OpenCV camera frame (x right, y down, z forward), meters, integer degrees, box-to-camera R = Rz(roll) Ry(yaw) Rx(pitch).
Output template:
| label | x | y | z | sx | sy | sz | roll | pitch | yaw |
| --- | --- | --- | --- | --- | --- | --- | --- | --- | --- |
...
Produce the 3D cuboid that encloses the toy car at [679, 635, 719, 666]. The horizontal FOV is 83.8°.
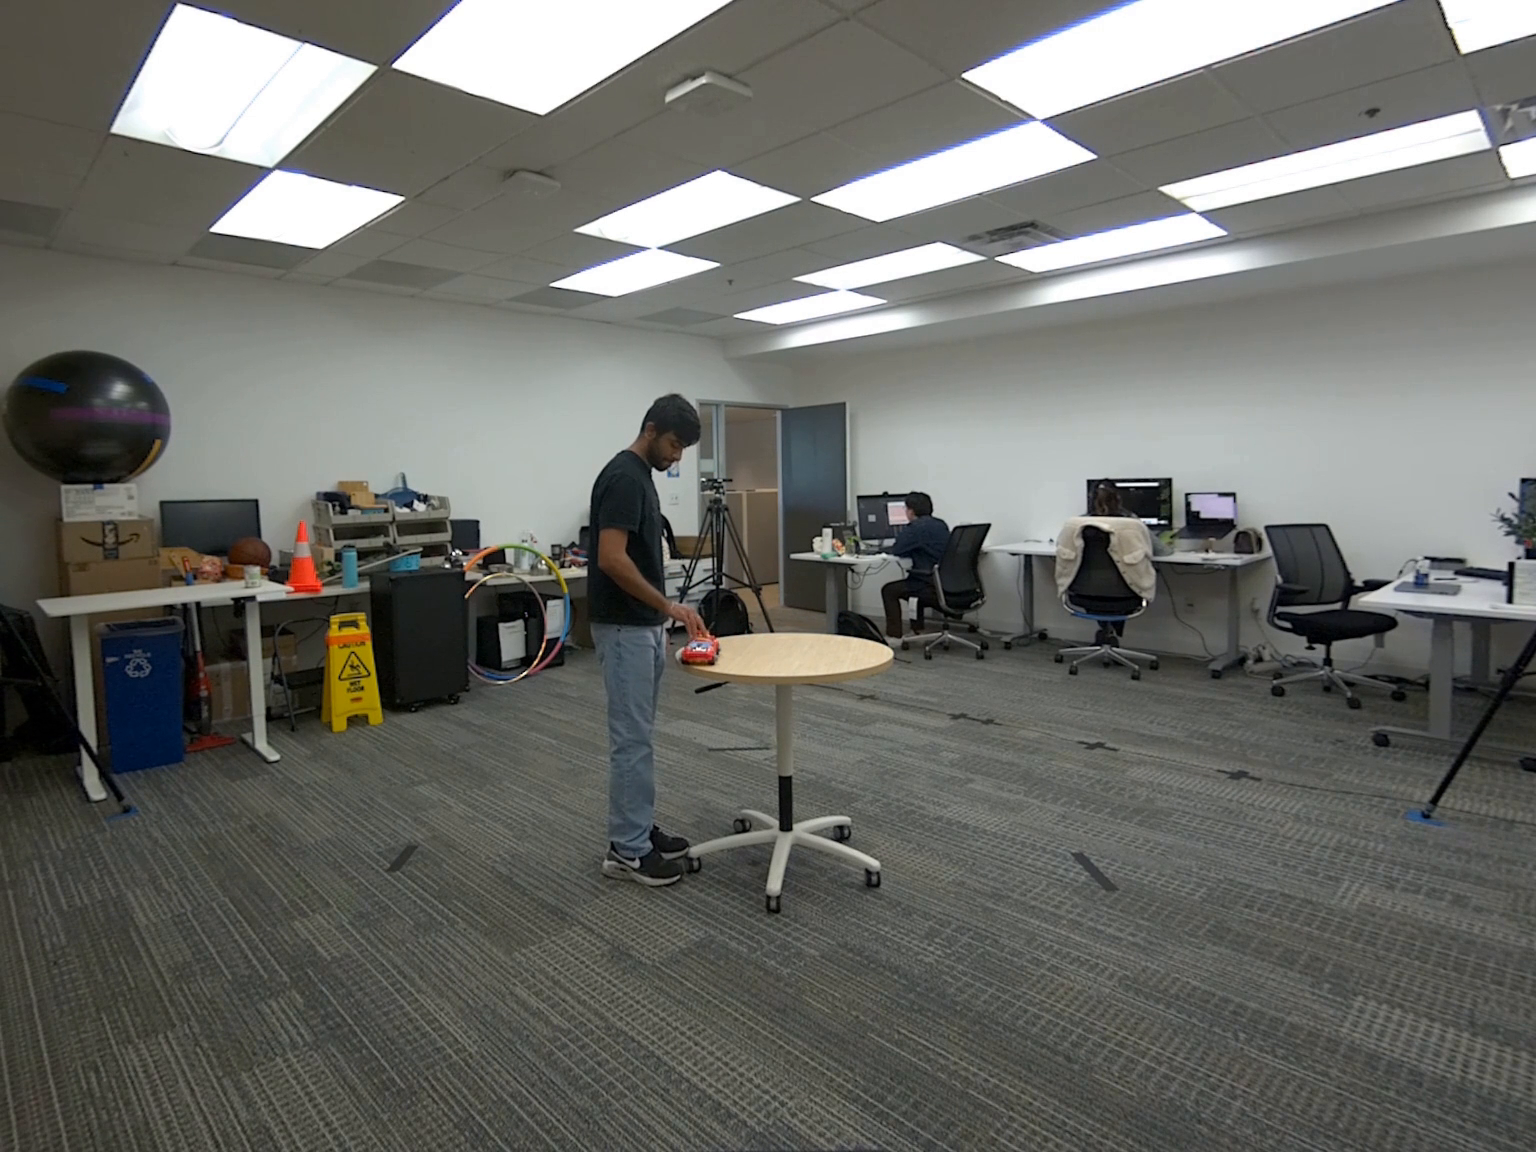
| label | x | y | z | sx | sy | sz | roll | pitch | yaw |
| --- | --- | --- | --- | --- | --- | --- | --- | --- | --- |
| toy car | -0.224 | 0.254 | 2.936 | 0.131 | 0.082 | 0.257 | -1 | 16 | 2 |
